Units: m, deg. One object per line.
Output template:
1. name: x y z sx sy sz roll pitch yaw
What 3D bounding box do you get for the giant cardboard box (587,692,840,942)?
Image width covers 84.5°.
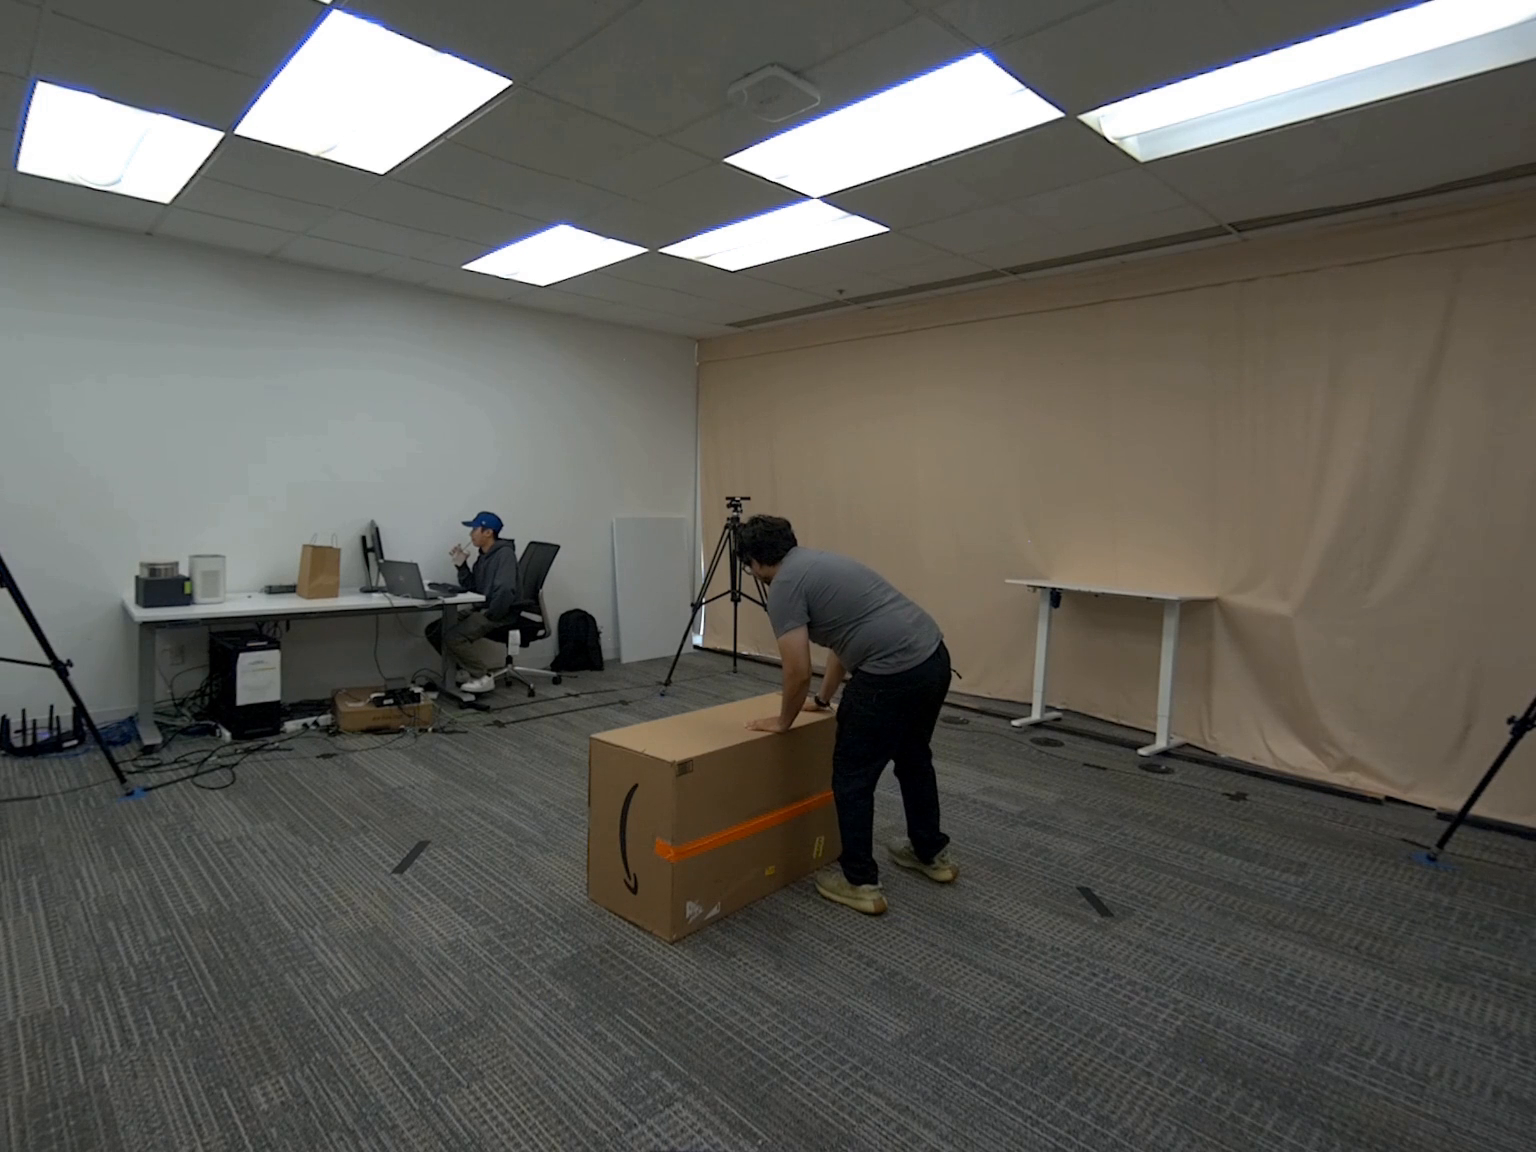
1. giant cardboard box: -0.131 0.820 3.108 0.437 0.576 1.003 5 6 41
